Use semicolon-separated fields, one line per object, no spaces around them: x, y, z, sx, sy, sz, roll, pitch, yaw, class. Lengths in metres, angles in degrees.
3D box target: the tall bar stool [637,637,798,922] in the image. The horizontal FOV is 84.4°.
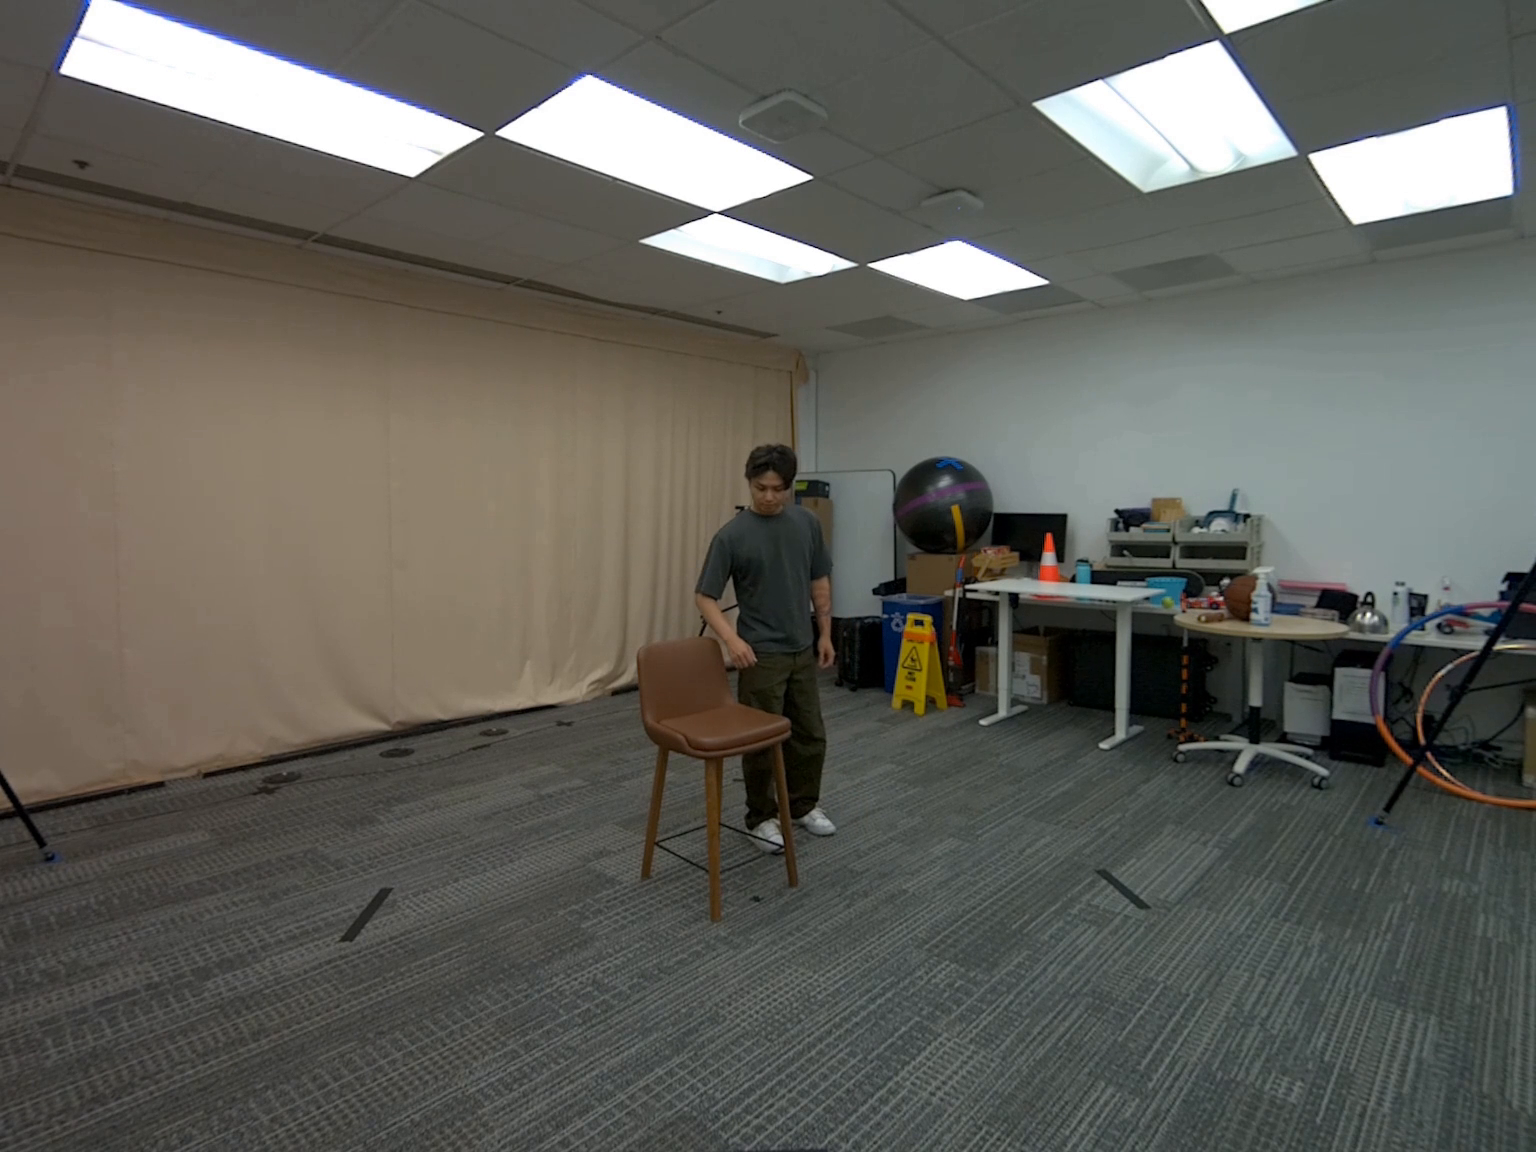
-0.199;0.702;3.094;0.442;0.889;0.483;-3;3;-43;tall bar stool
